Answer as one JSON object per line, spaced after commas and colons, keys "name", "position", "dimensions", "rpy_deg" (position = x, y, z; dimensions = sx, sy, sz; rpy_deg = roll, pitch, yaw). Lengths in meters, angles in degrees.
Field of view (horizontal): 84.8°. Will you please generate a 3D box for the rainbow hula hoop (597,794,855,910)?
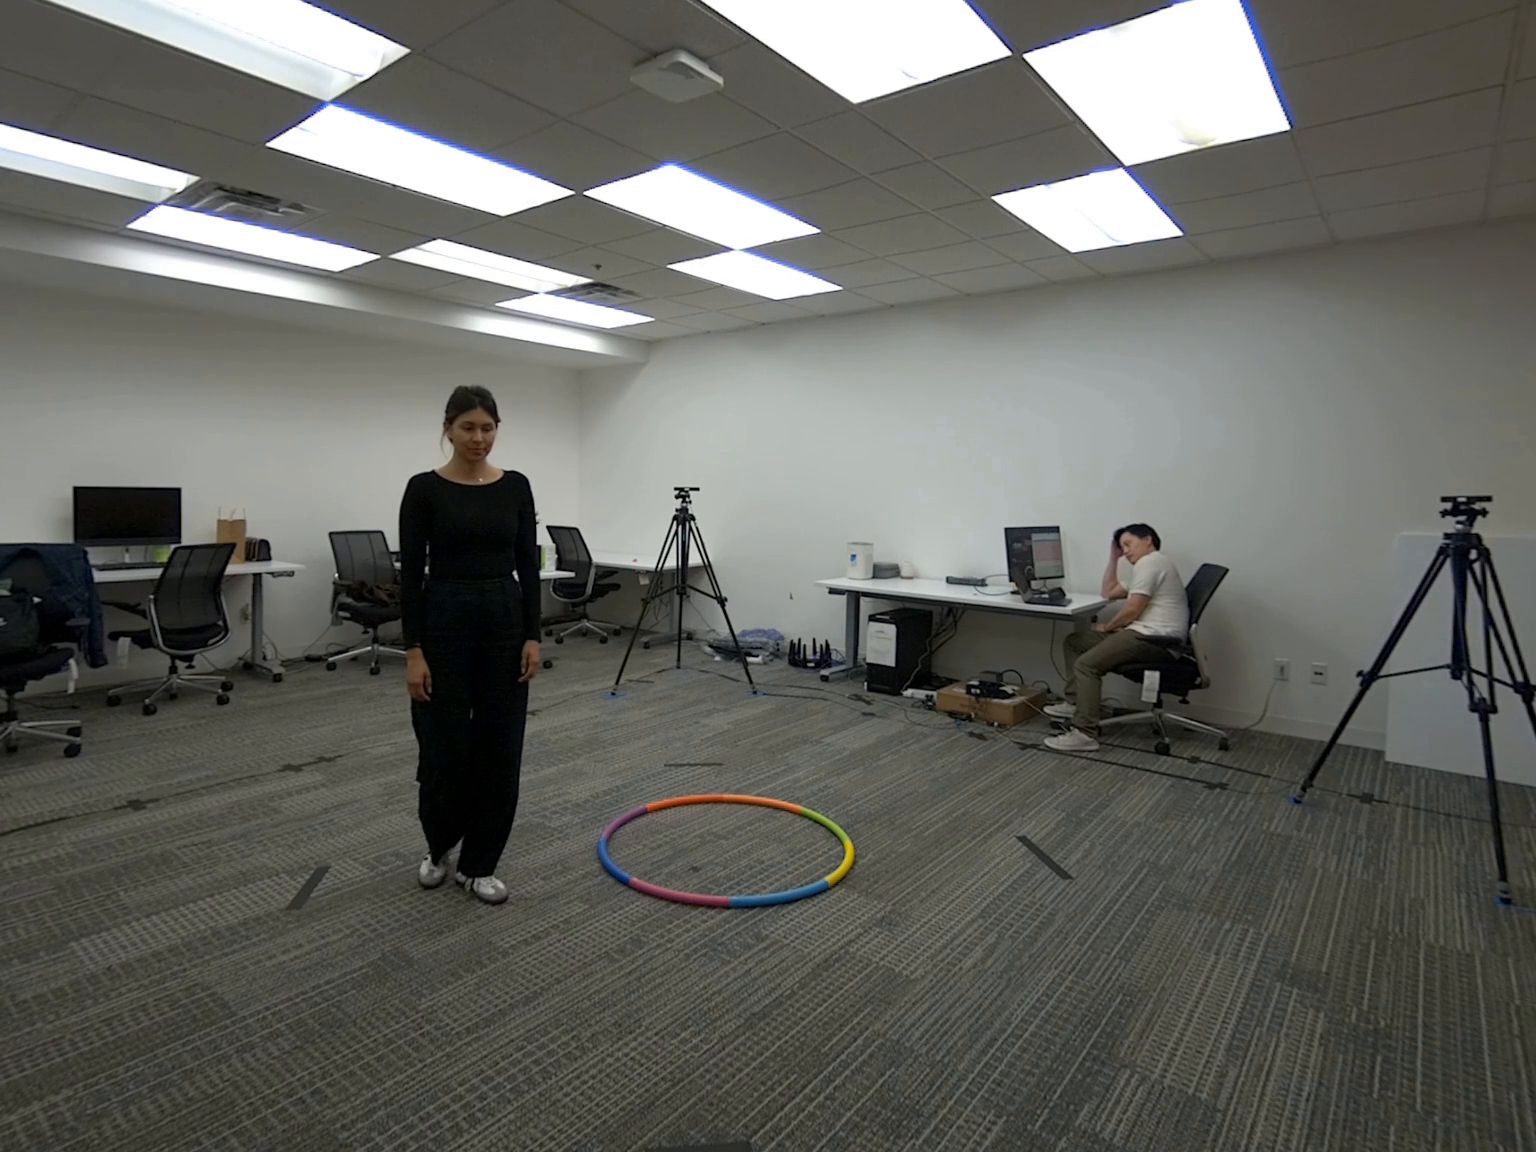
{"name": "rainbow hula hoop", "position": [-0.171, 1.020, 3.294], "dimensions": [0.978, 0.035, 0.984], "rpy_deg": [1, 6, -2]}
